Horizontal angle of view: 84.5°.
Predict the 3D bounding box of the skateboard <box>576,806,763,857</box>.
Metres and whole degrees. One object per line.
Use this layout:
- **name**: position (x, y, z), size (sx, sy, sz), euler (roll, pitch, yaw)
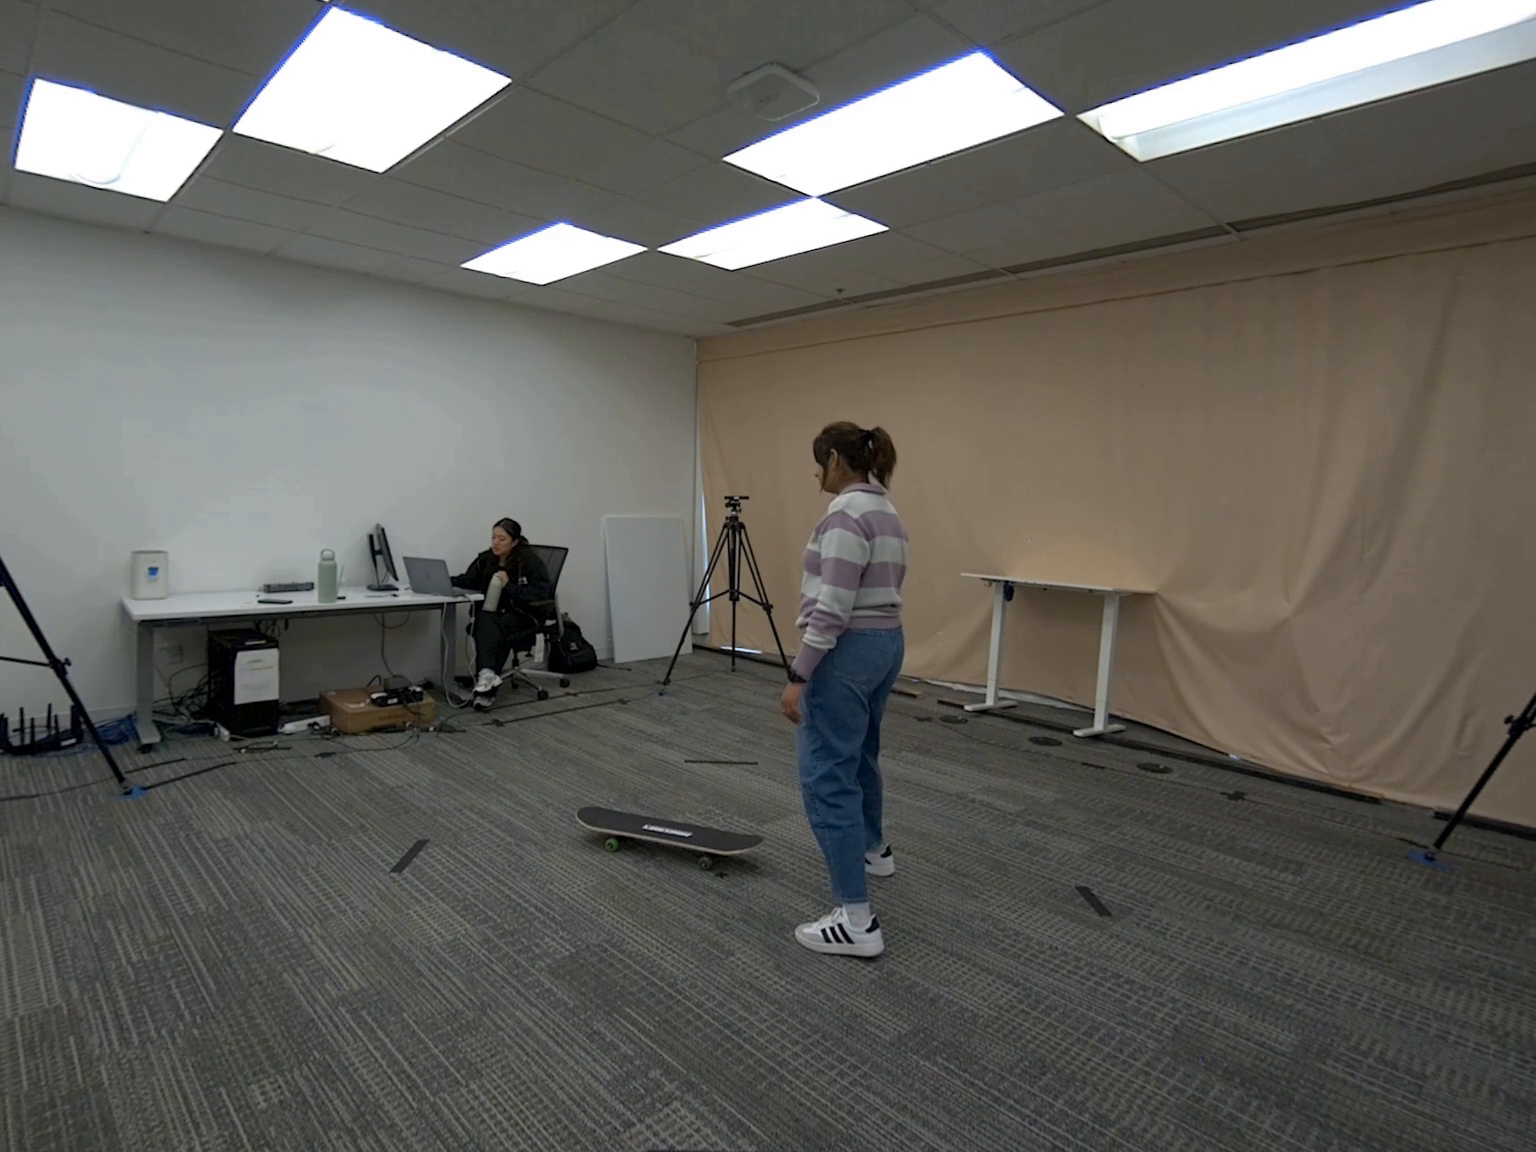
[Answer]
- **skateboard**: position (-0.400, 1.020, 3.286), size (0.799, 0.110, 0.191), euler (4, 5, 21)
